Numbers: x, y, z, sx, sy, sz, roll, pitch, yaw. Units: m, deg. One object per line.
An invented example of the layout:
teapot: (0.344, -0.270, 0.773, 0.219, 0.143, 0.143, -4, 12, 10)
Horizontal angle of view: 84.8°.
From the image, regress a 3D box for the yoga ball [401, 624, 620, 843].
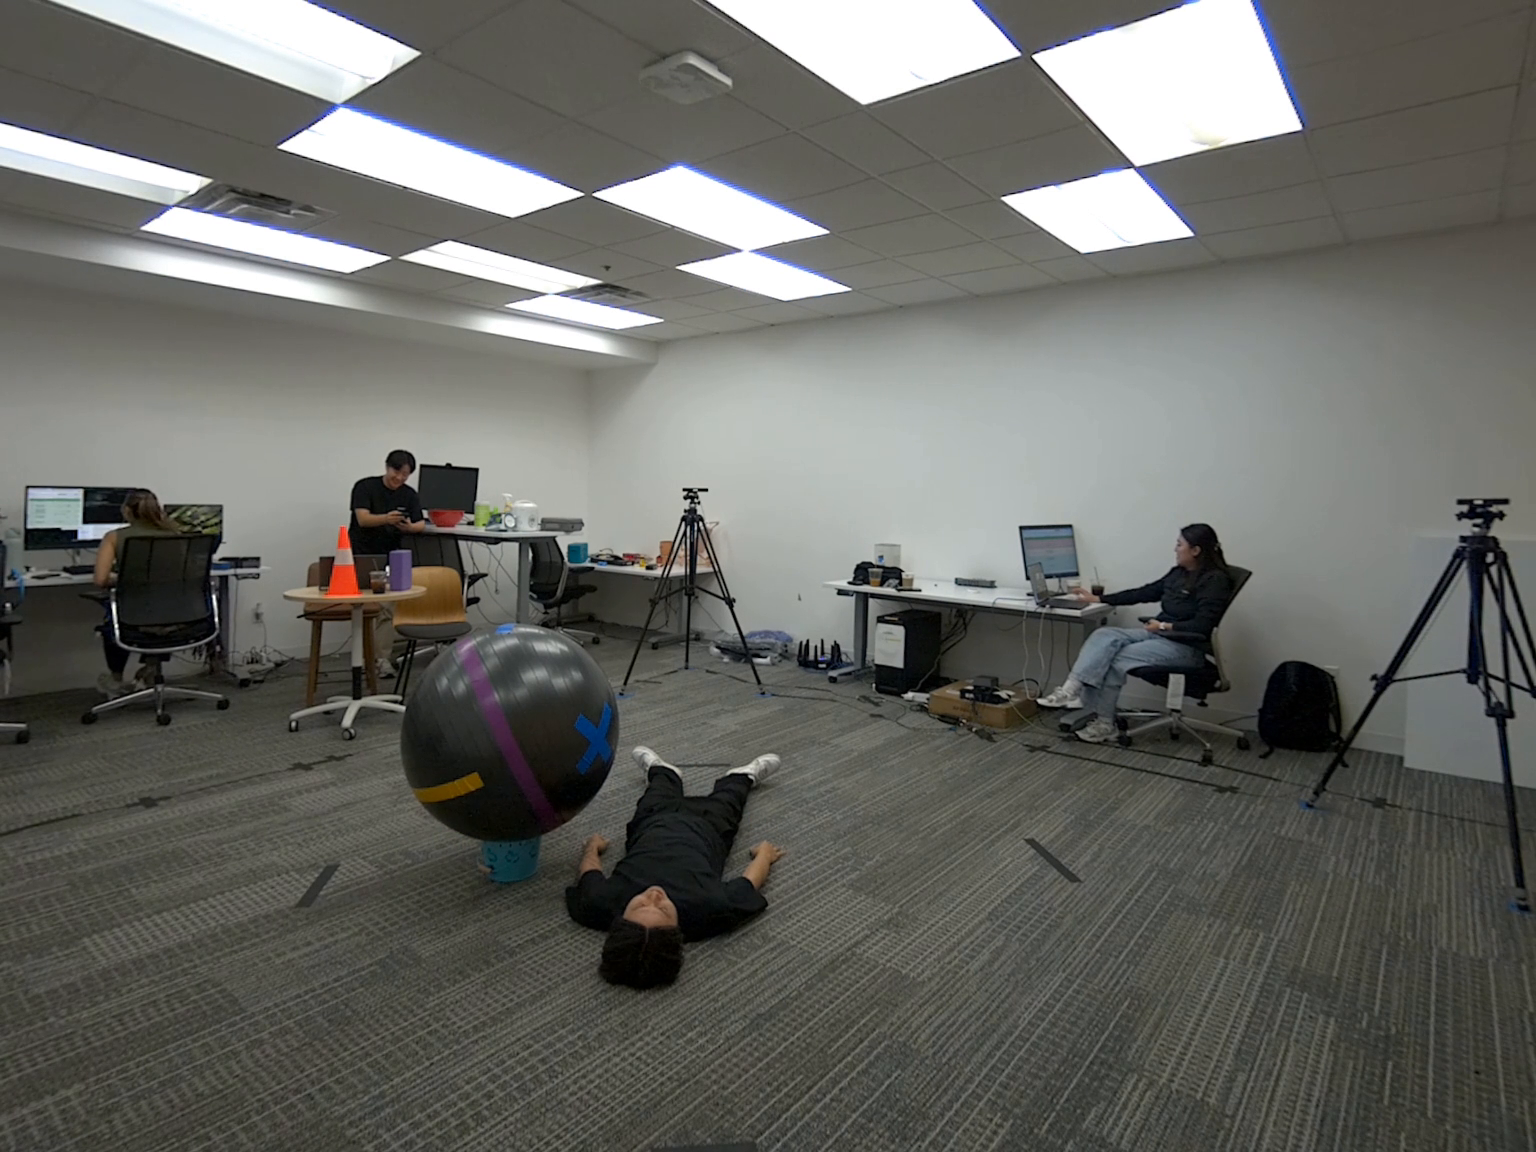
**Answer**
yoga ball: (-0.926, 0.554, 3.047, 0.757, 0.755, 0.762, 1, 4, -2)
